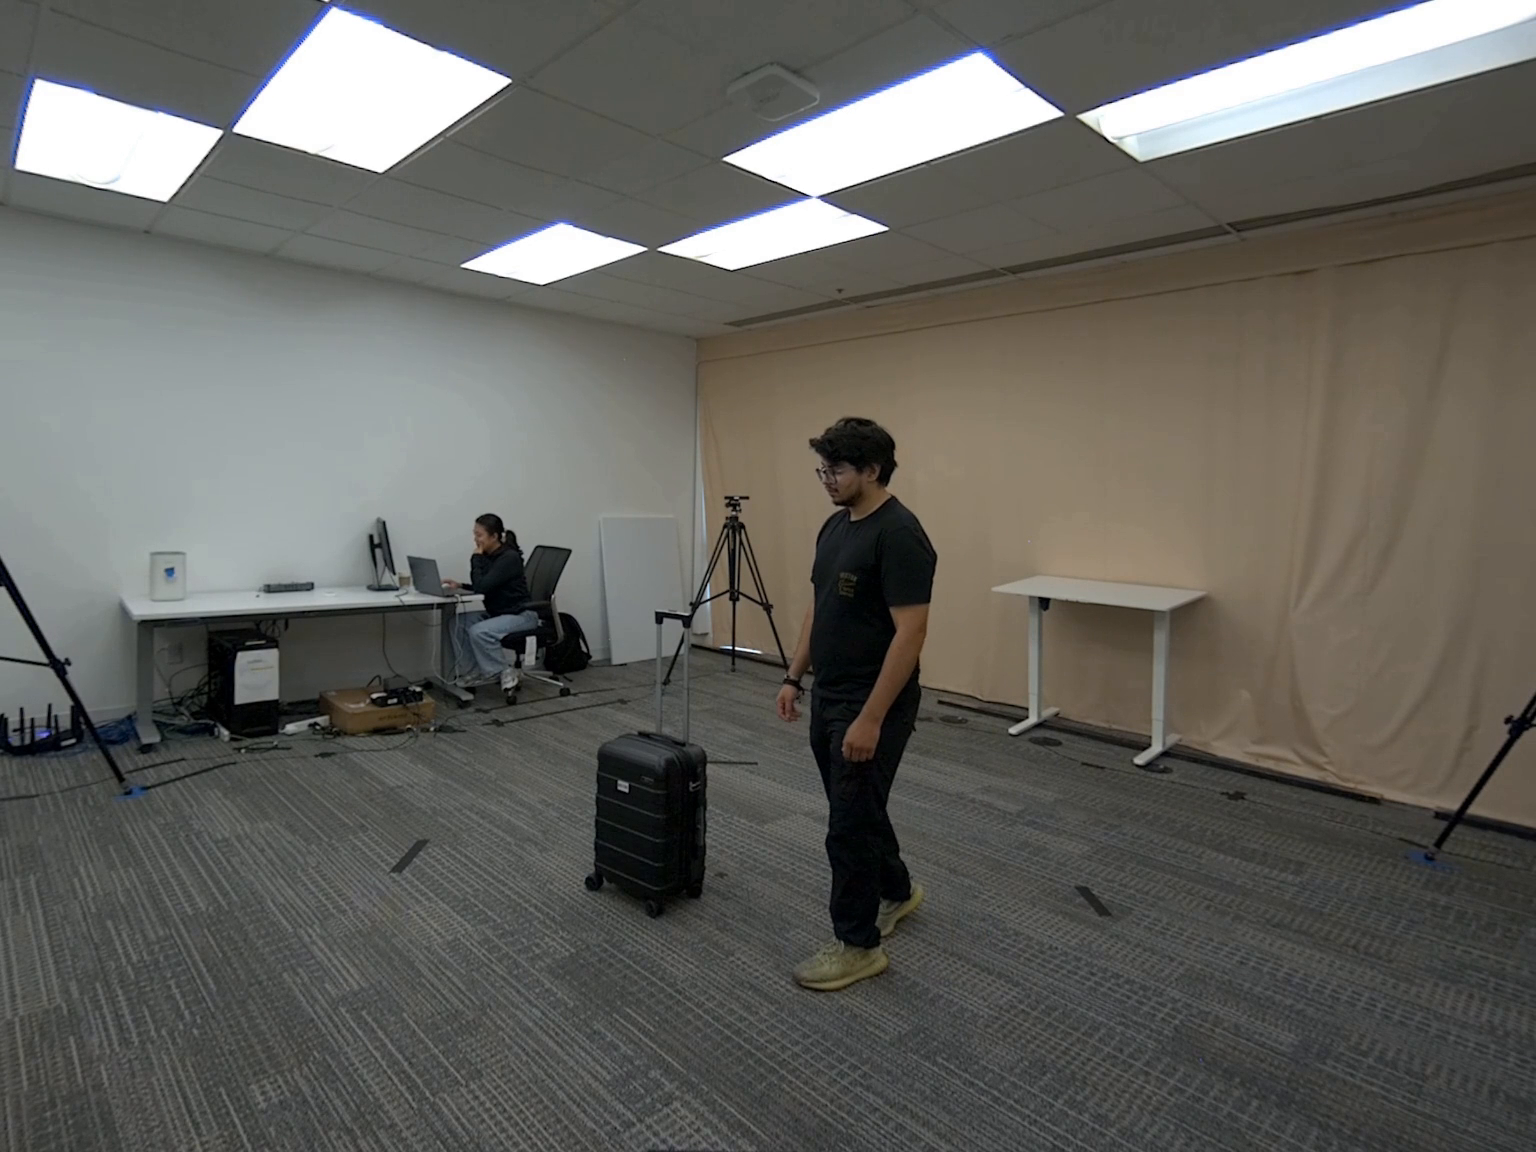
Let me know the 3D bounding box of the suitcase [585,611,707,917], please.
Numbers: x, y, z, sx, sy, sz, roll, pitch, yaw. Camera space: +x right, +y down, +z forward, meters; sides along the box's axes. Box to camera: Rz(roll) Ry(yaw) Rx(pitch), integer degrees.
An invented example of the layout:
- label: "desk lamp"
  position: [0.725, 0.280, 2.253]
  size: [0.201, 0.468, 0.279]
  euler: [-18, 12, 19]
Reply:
- label: "suitcase"
  position: [-0.414, 0.638, 2.922]
  size: [0.393, 0.975, 0.252]
  euler: [5, 6, 37]
